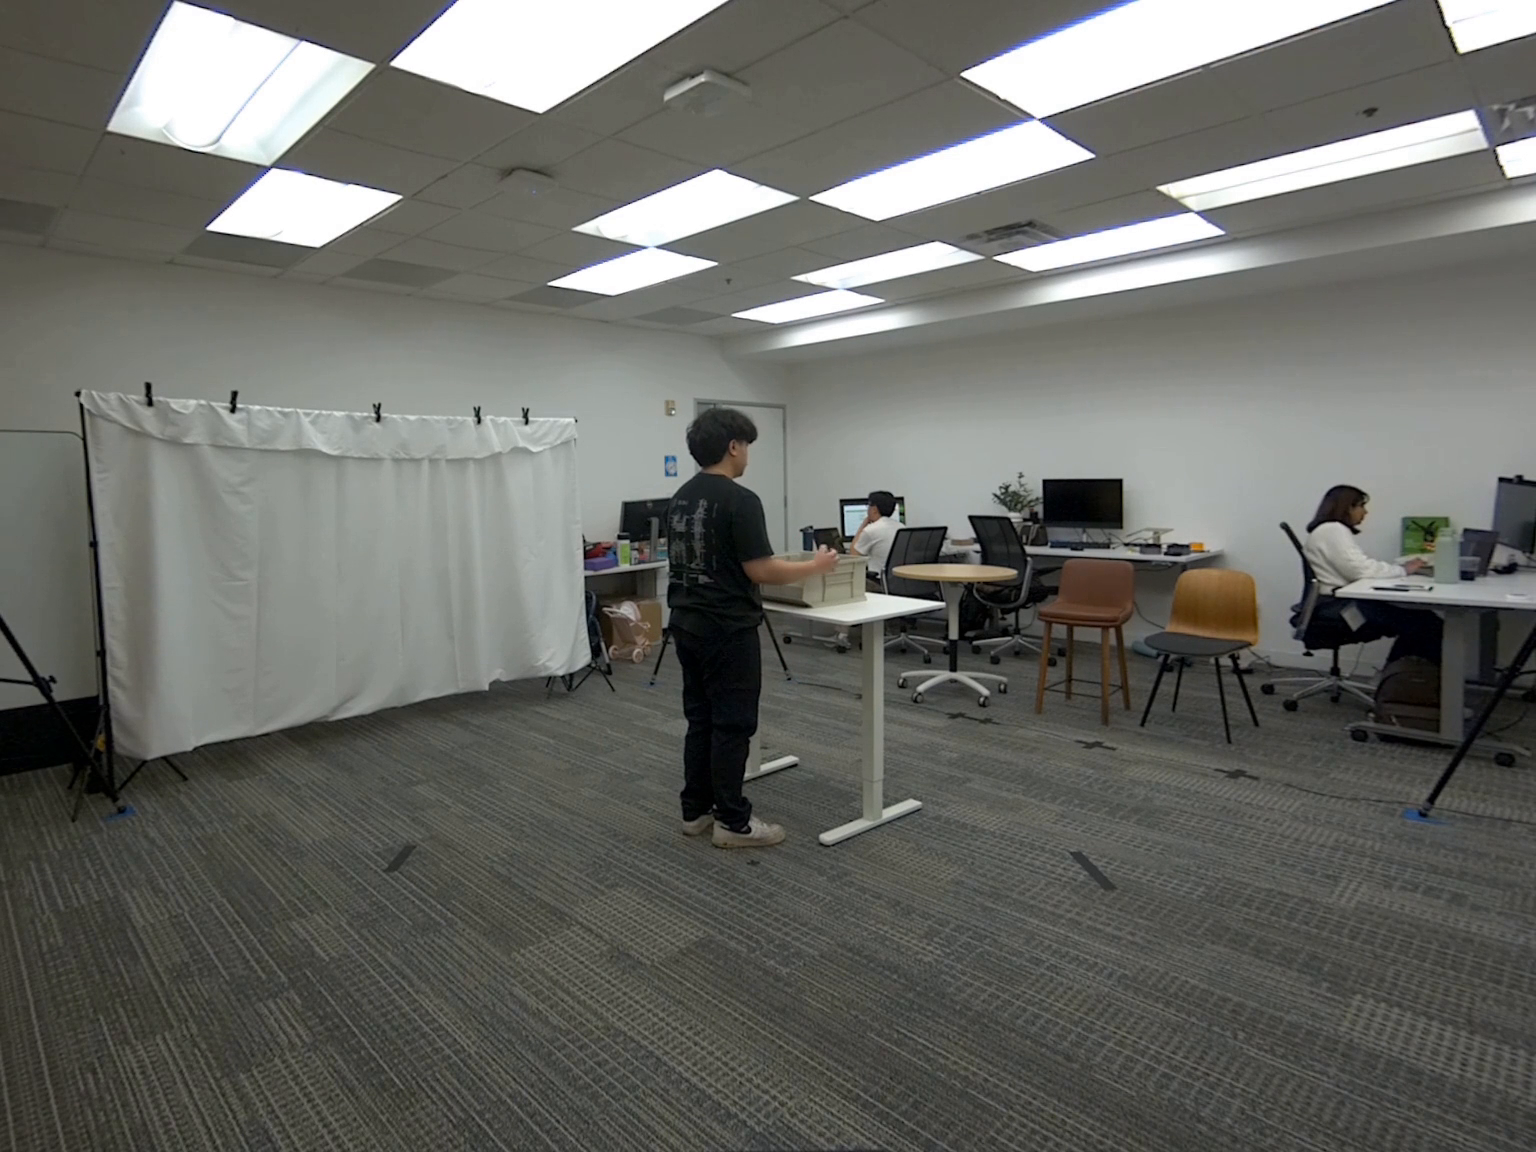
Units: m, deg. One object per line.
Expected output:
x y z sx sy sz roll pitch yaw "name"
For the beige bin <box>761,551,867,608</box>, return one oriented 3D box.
0.151 0.011 3.604 0.367 0.188 0.435 -5 6 -37 "beige bin"
